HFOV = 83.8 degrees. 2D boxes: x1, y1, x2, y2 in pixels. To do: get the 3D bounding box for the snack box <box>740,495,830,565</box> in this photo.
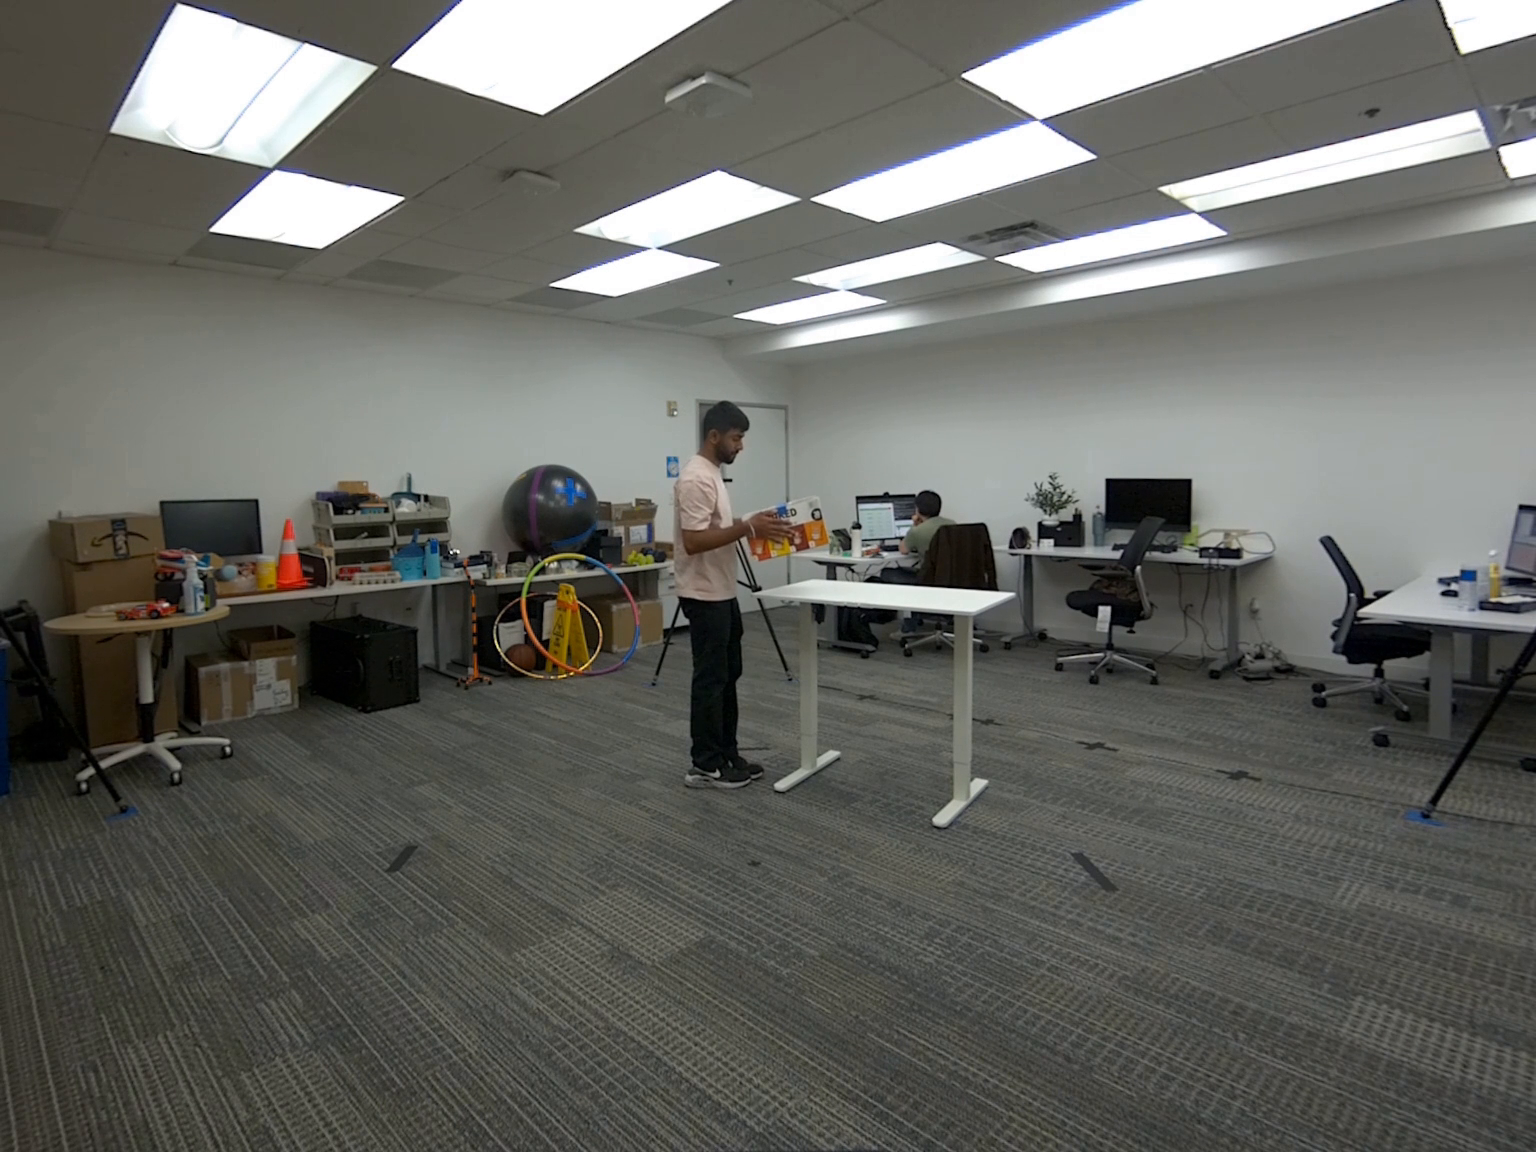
[{"bbox_3d":[0.081,-0.216,3.836,0.342,0.205,0.405,-14,5,6],"label":"snack box"}]
